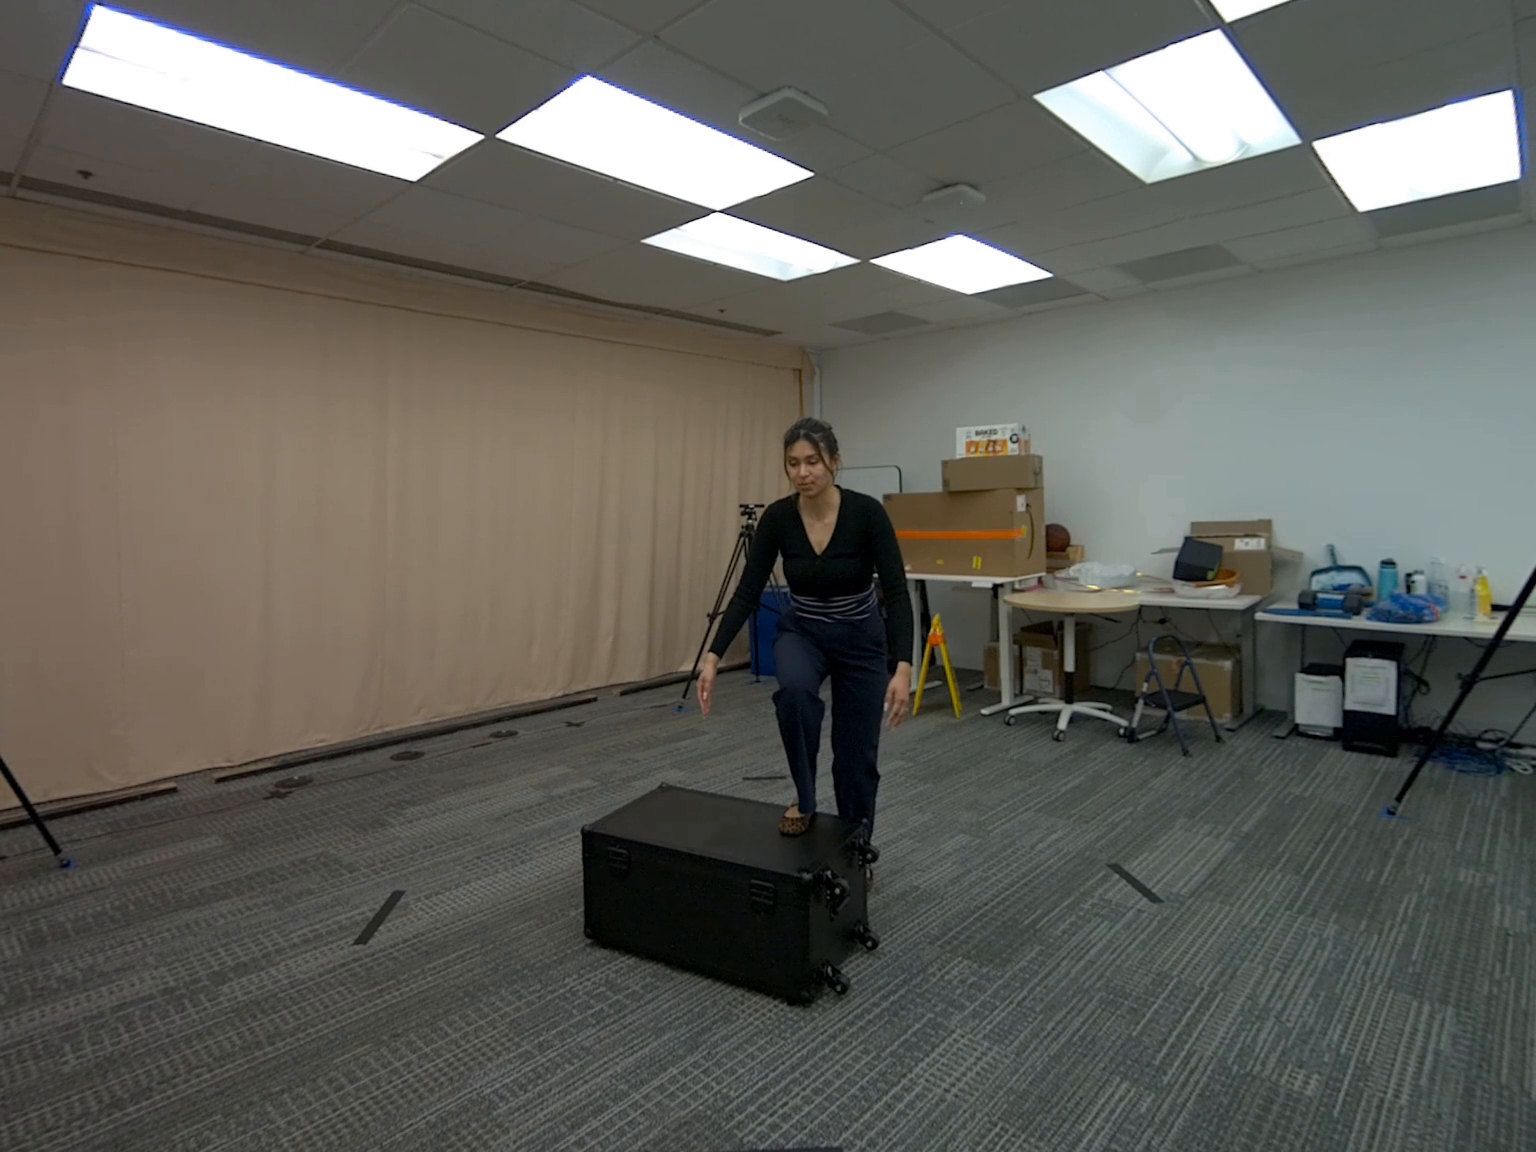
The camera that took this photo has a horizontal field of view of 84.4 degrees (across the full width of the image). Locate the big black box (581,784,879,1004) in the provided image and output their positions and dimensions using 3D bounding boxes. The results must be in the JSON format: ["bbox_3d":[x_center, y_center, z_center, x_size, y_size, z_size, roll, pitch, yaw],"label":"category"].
[{"bbox_3d":[-0.105,0.981,2.673,0.885,0.395,0.508,1,4,28],"label":"big black box"}]
